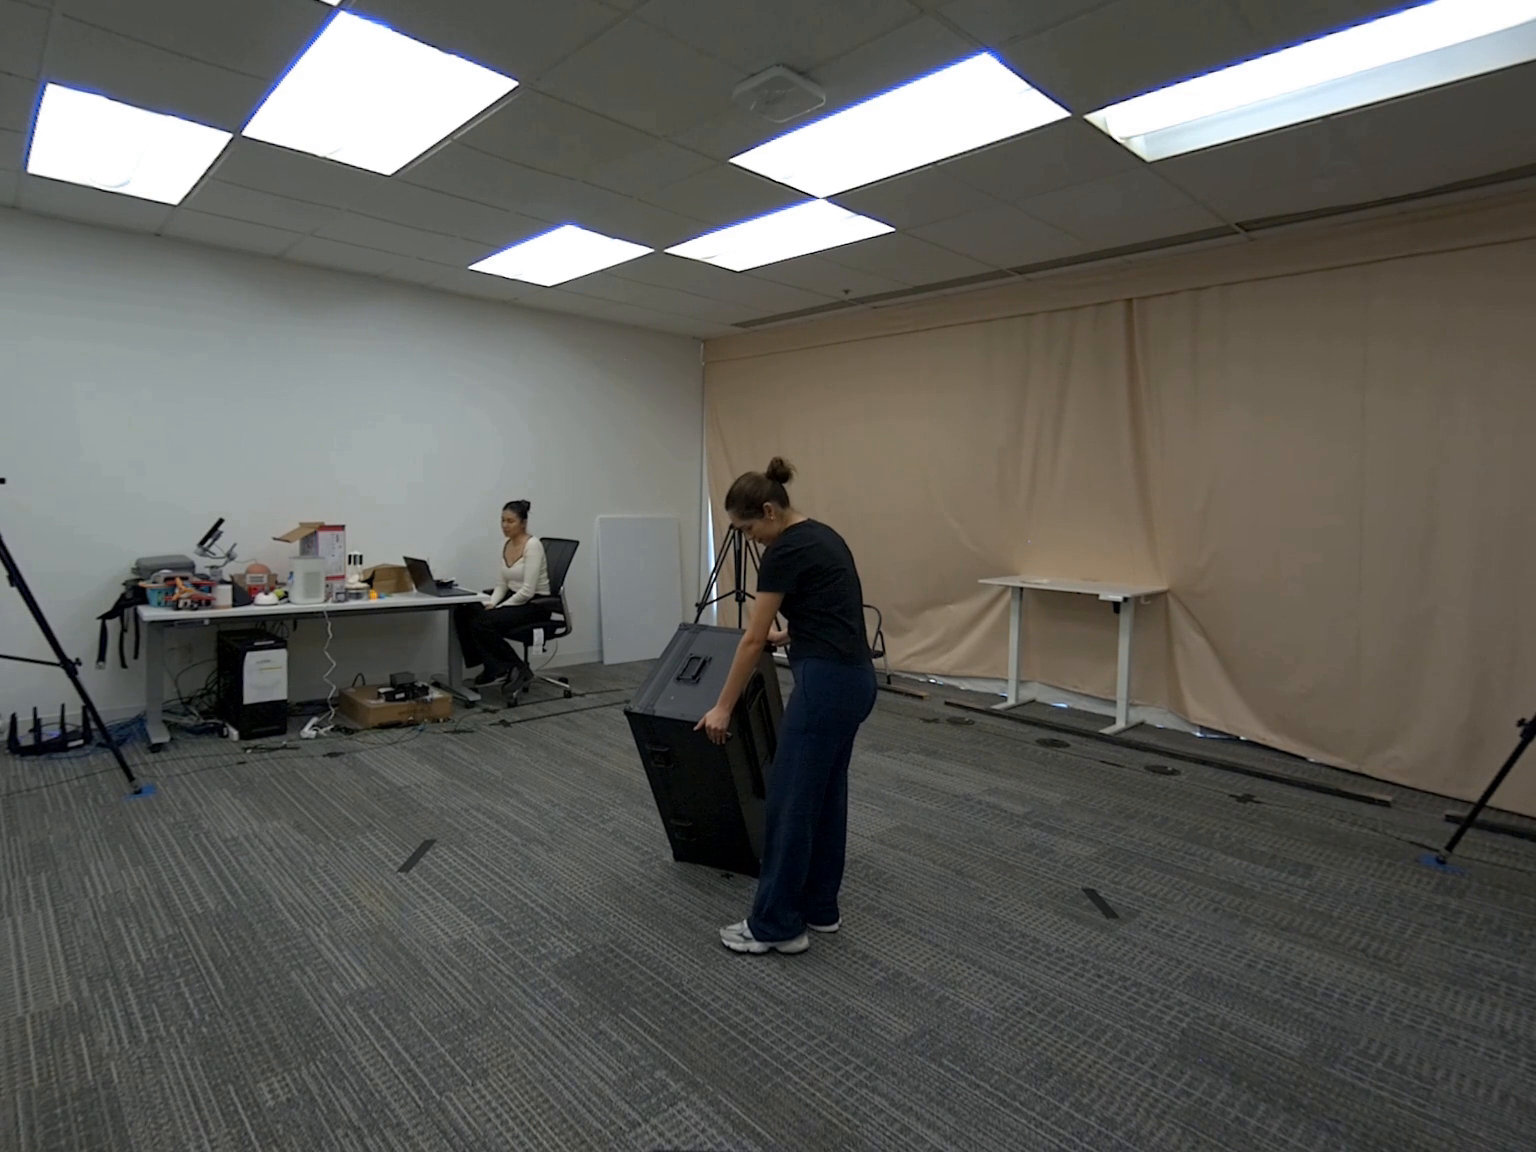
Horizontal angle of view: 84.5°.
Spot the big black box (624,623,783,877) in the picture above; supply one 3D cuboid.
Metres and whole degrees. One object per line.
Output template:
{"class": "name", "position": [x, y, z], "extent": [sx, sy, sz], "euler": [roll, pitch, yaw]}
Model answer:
{"class": "big black box", "position": [-0.165, 0.672, 3.139], "extent": [0.403, 0.841, 0.524], "euler": [5, 36, 22]}
